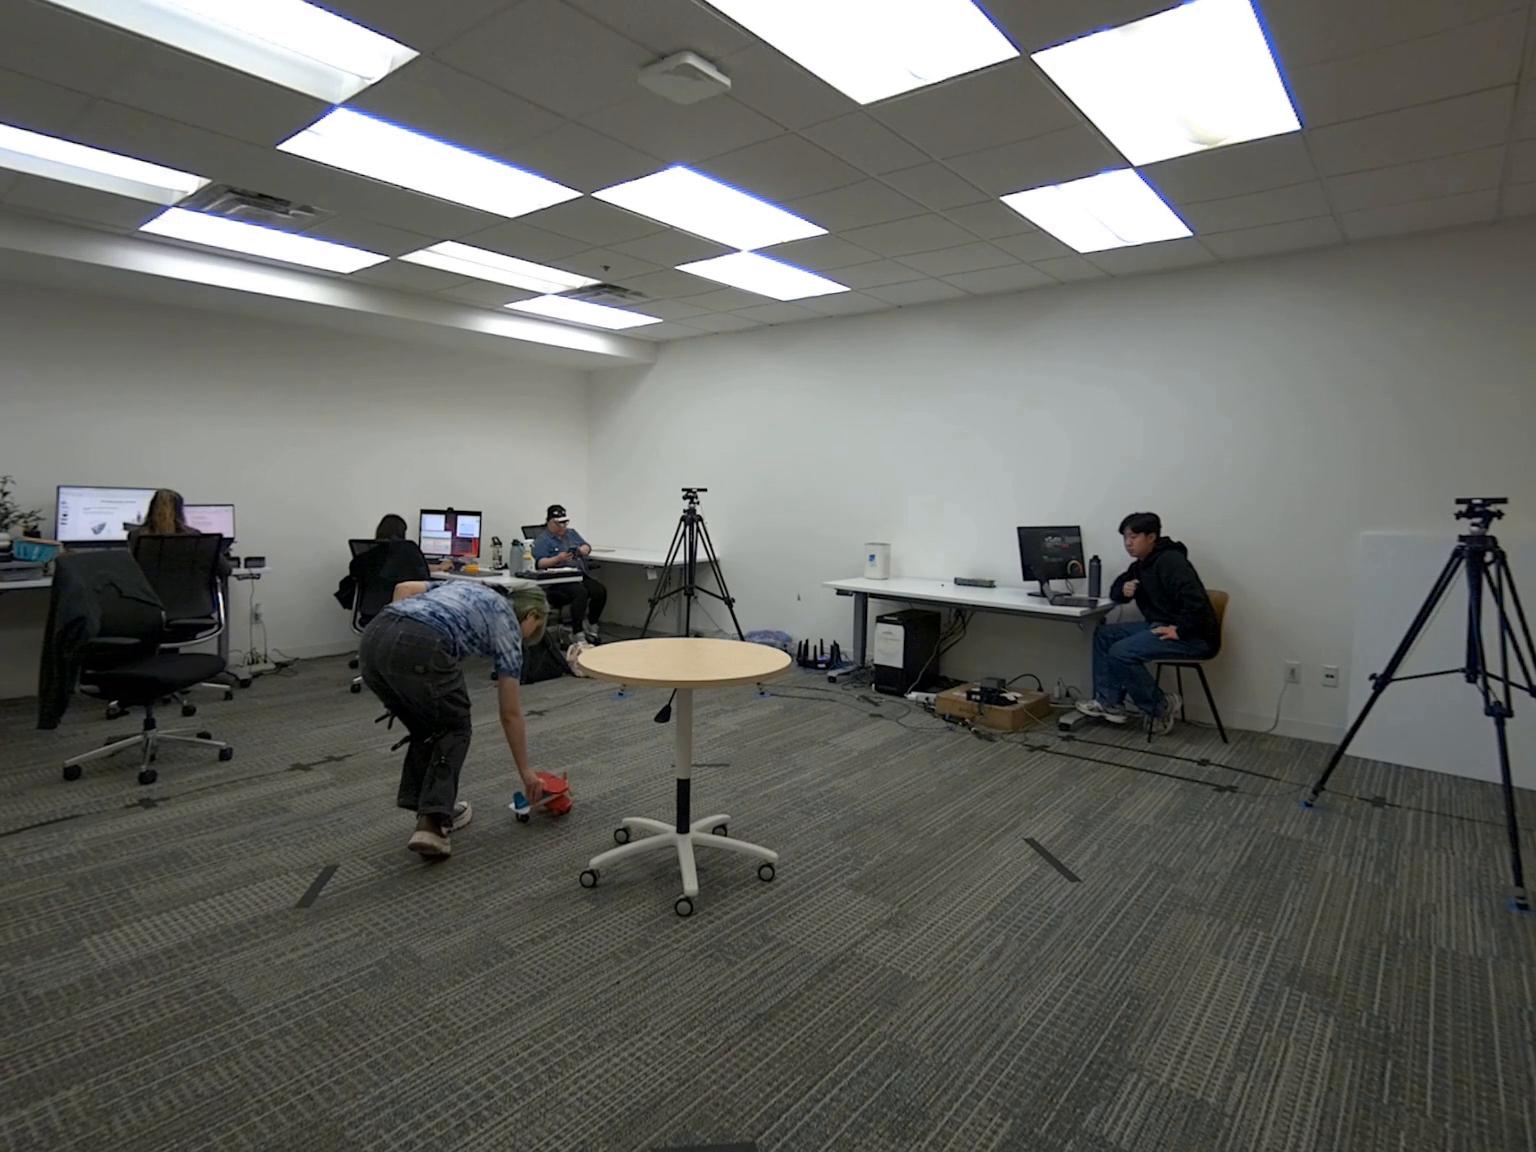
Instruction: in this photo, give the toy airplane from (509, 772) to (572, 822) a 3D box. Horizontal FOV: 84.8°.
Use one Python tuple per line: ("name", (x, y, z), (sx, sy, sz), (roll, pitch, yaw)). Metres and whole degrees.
("toy airplane", (-0.962, 0.943, 3.585), (0.256, 0.156, 0.255), (3, 3, 16))
